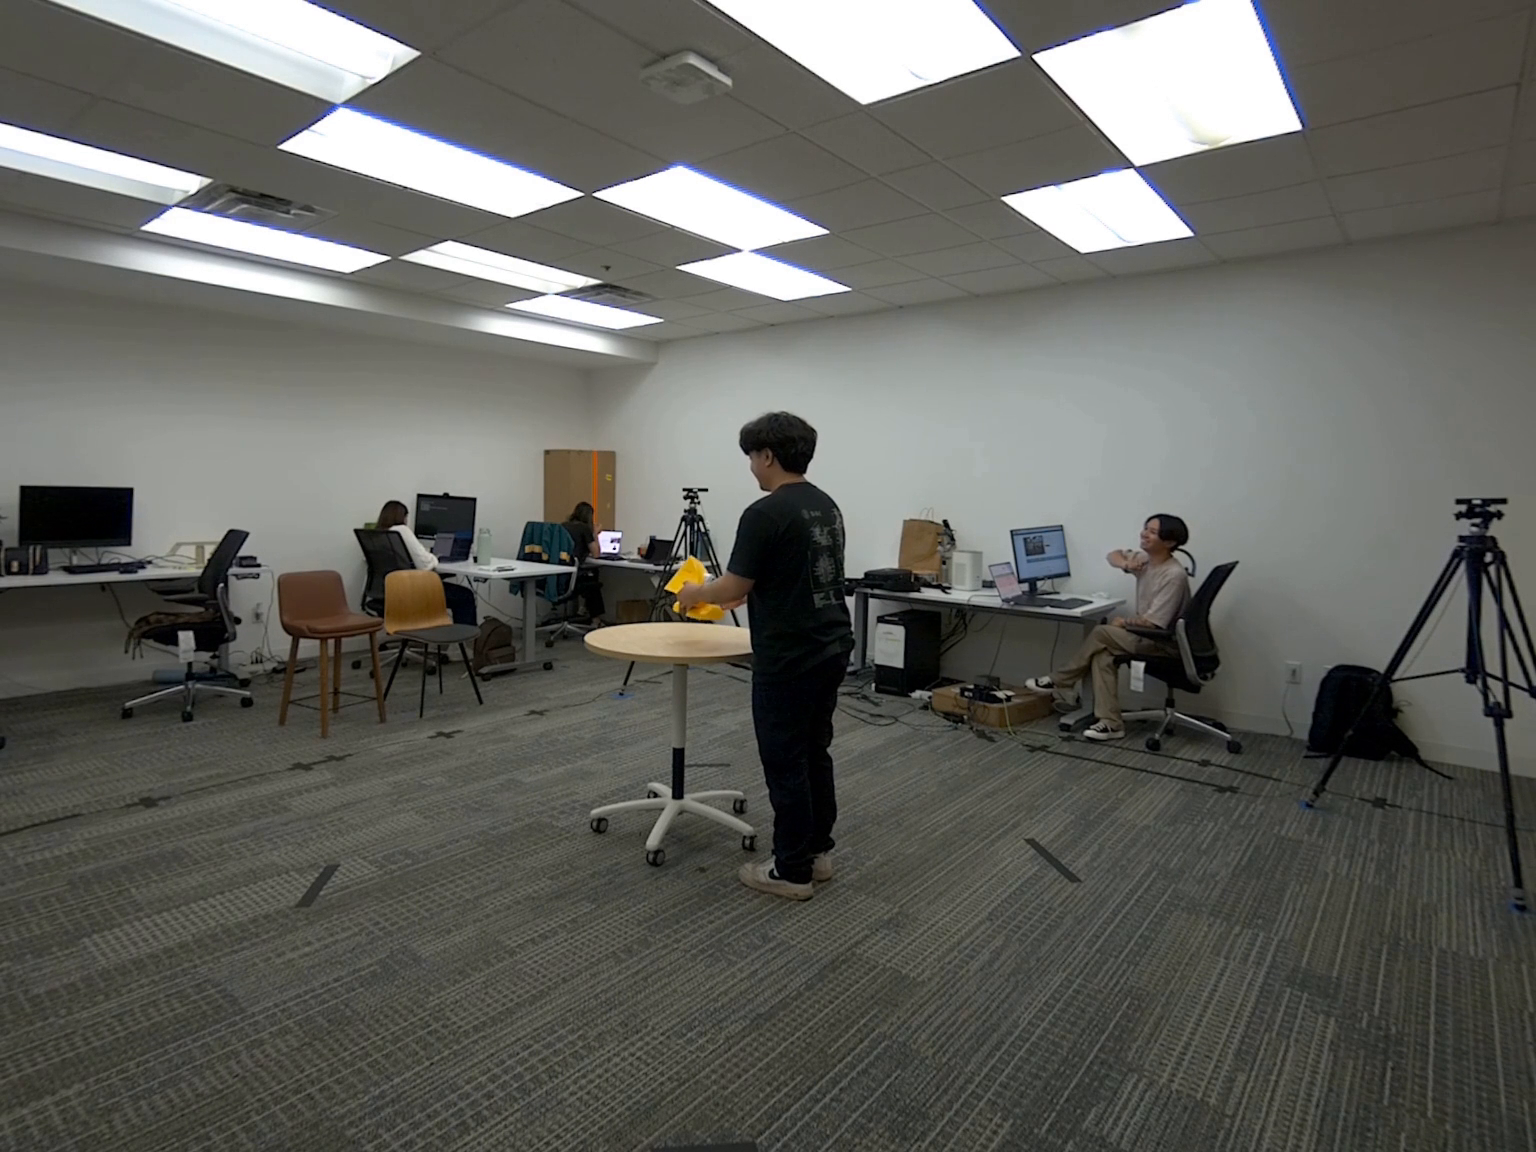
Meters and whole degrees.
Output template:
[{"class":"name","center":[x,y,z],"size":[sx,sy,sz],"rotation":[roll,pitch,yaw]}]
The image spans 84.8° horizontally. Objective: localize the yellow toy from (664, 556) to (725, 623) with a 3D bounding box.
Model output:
[{"class":"yellow toy","center":[-0.274,0.027,3.305],"size":[0.187,0.229,0.212],"rotation":[1,8,-42]}]
